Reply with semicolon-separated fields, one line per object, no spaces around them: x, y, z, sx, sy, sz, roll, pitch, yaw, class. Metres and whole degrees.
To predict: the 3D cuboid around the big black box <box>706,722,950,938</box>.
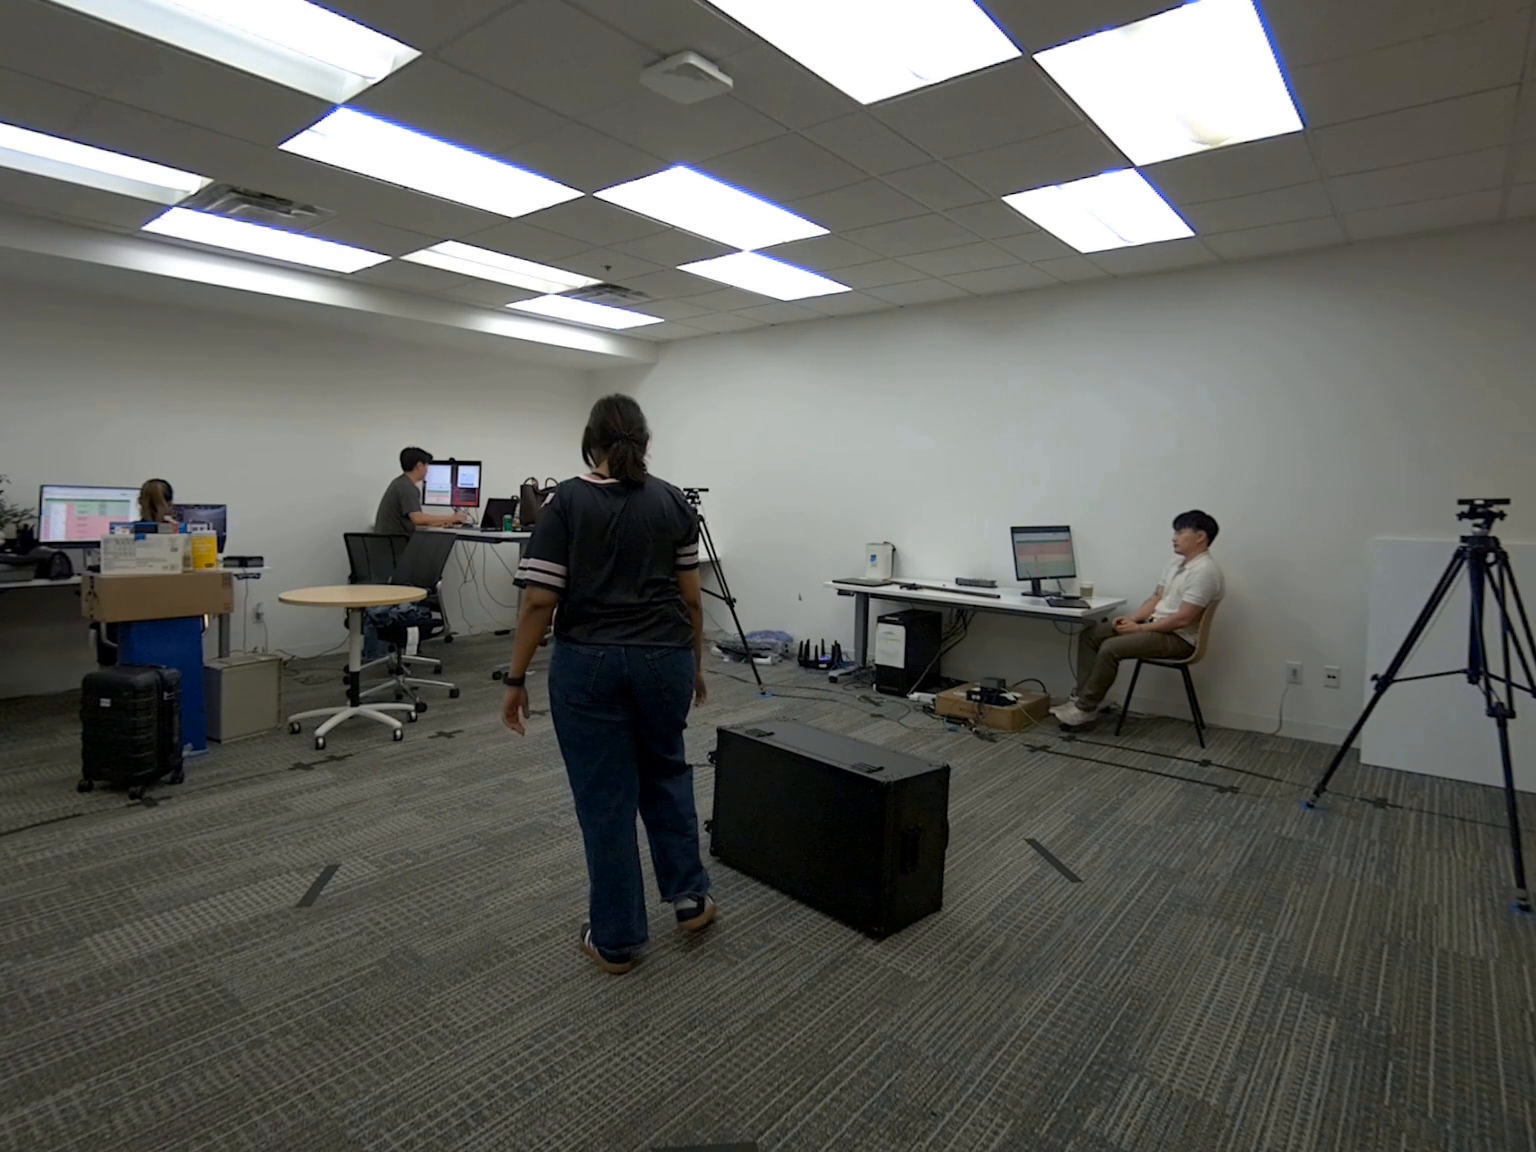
0.168;0.828;3.050;0.373;0.522;0.899;-2;5;-44;big black box
